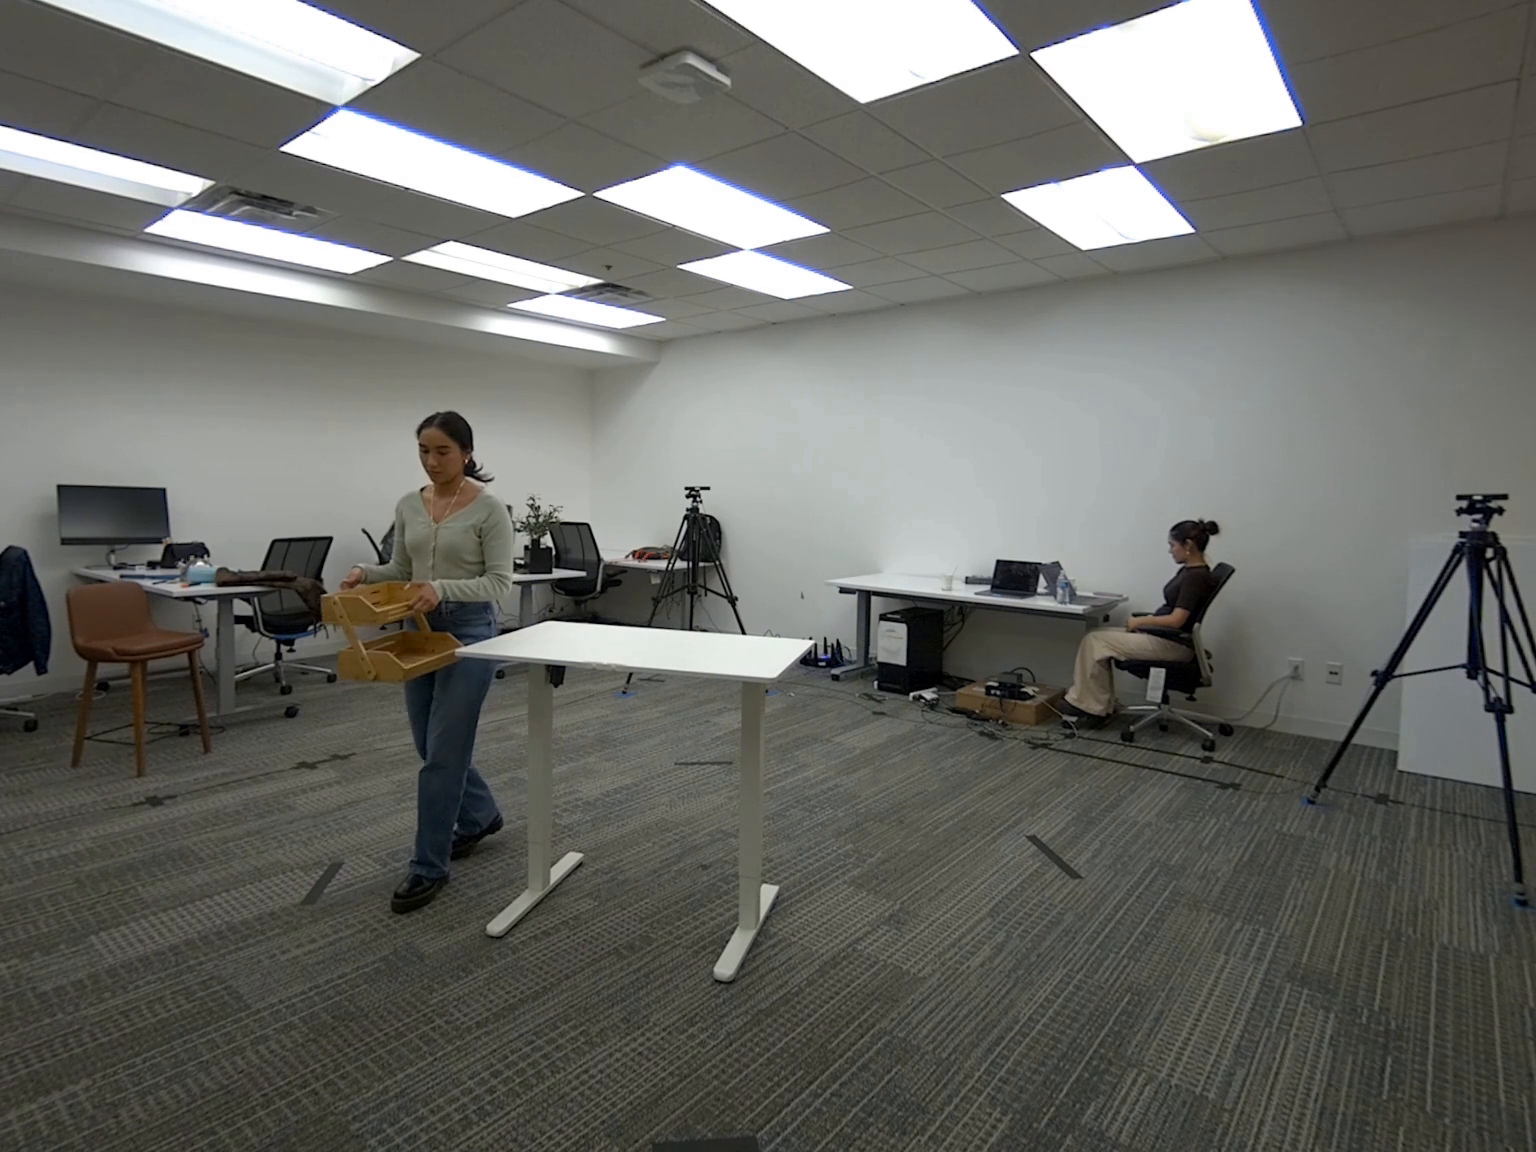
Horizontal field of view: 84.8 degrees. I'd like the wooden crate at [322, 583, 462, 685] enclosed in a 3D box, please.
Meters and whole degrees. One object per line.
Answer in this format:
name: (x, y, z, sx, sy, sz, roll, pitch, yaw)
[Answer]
wooden crate: (-1.205, 0.161, 2.728, 0.307, 0.272, 0.320, 0, 6, 17)
